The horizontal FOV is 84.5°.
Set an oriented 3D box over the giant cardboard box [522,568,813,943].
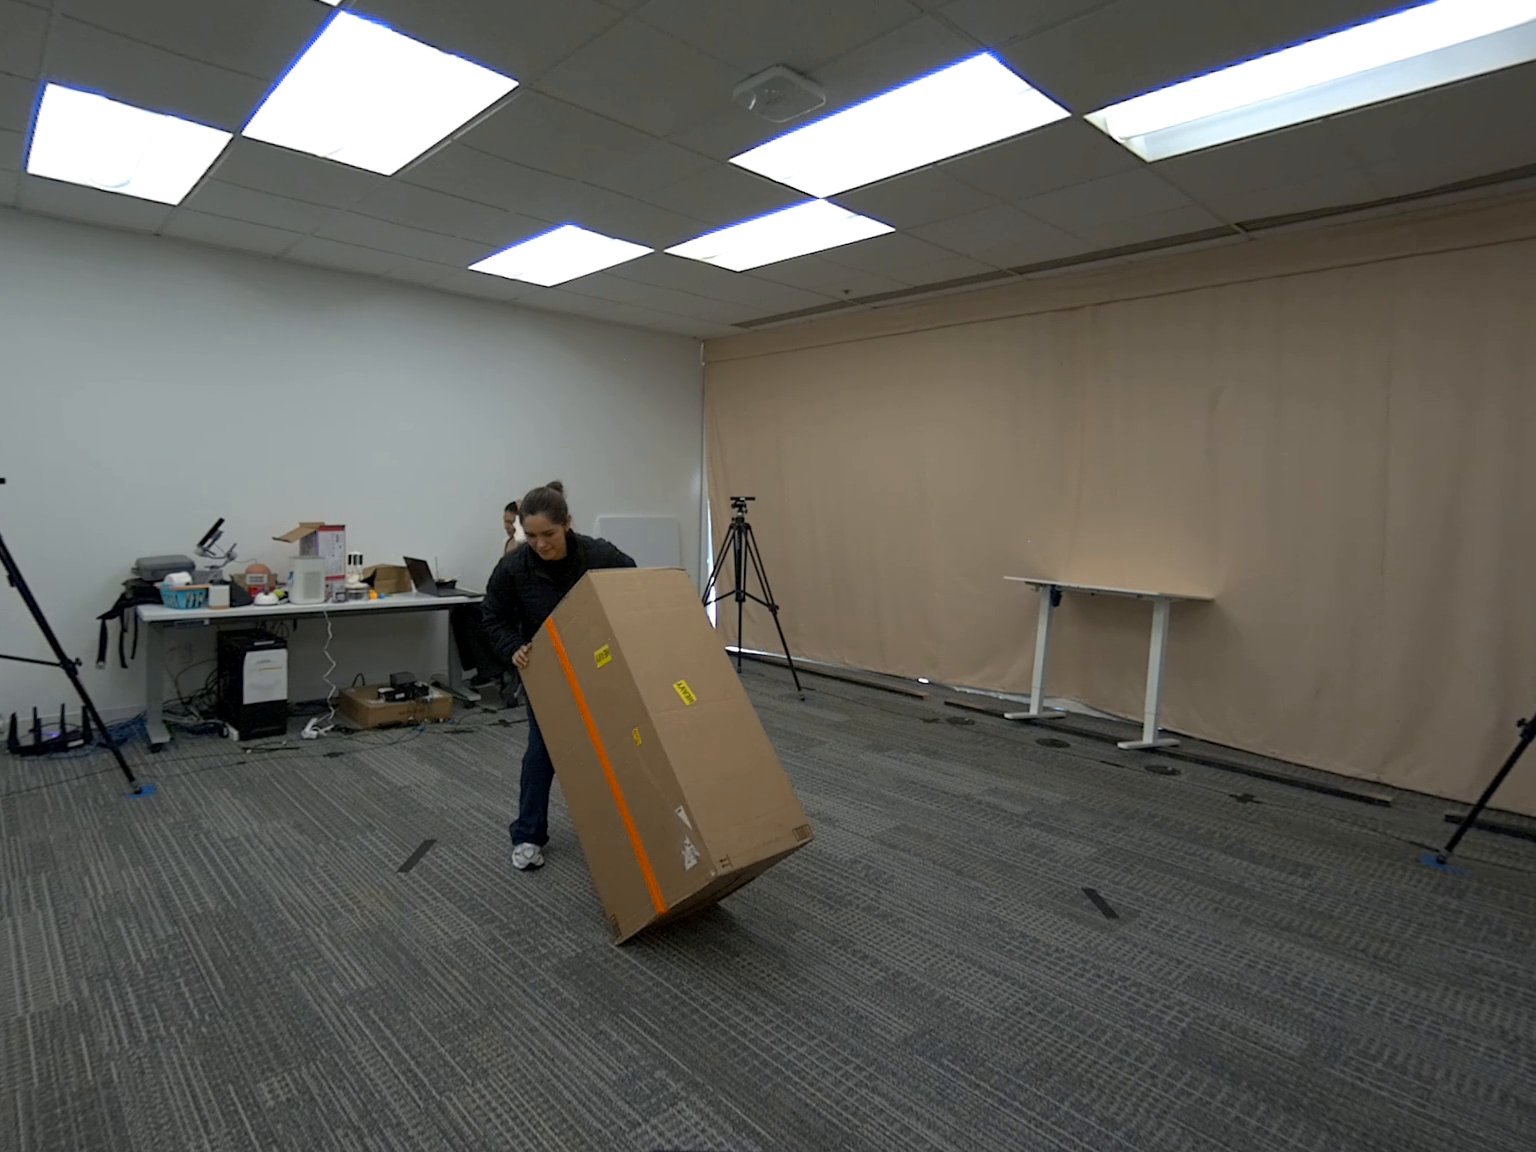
[{"bbox_3d":[-0.385,0.559,2.792,0.437,1.051,0.584,-3,-34,-45],"label":"giant cardboard box"}]
